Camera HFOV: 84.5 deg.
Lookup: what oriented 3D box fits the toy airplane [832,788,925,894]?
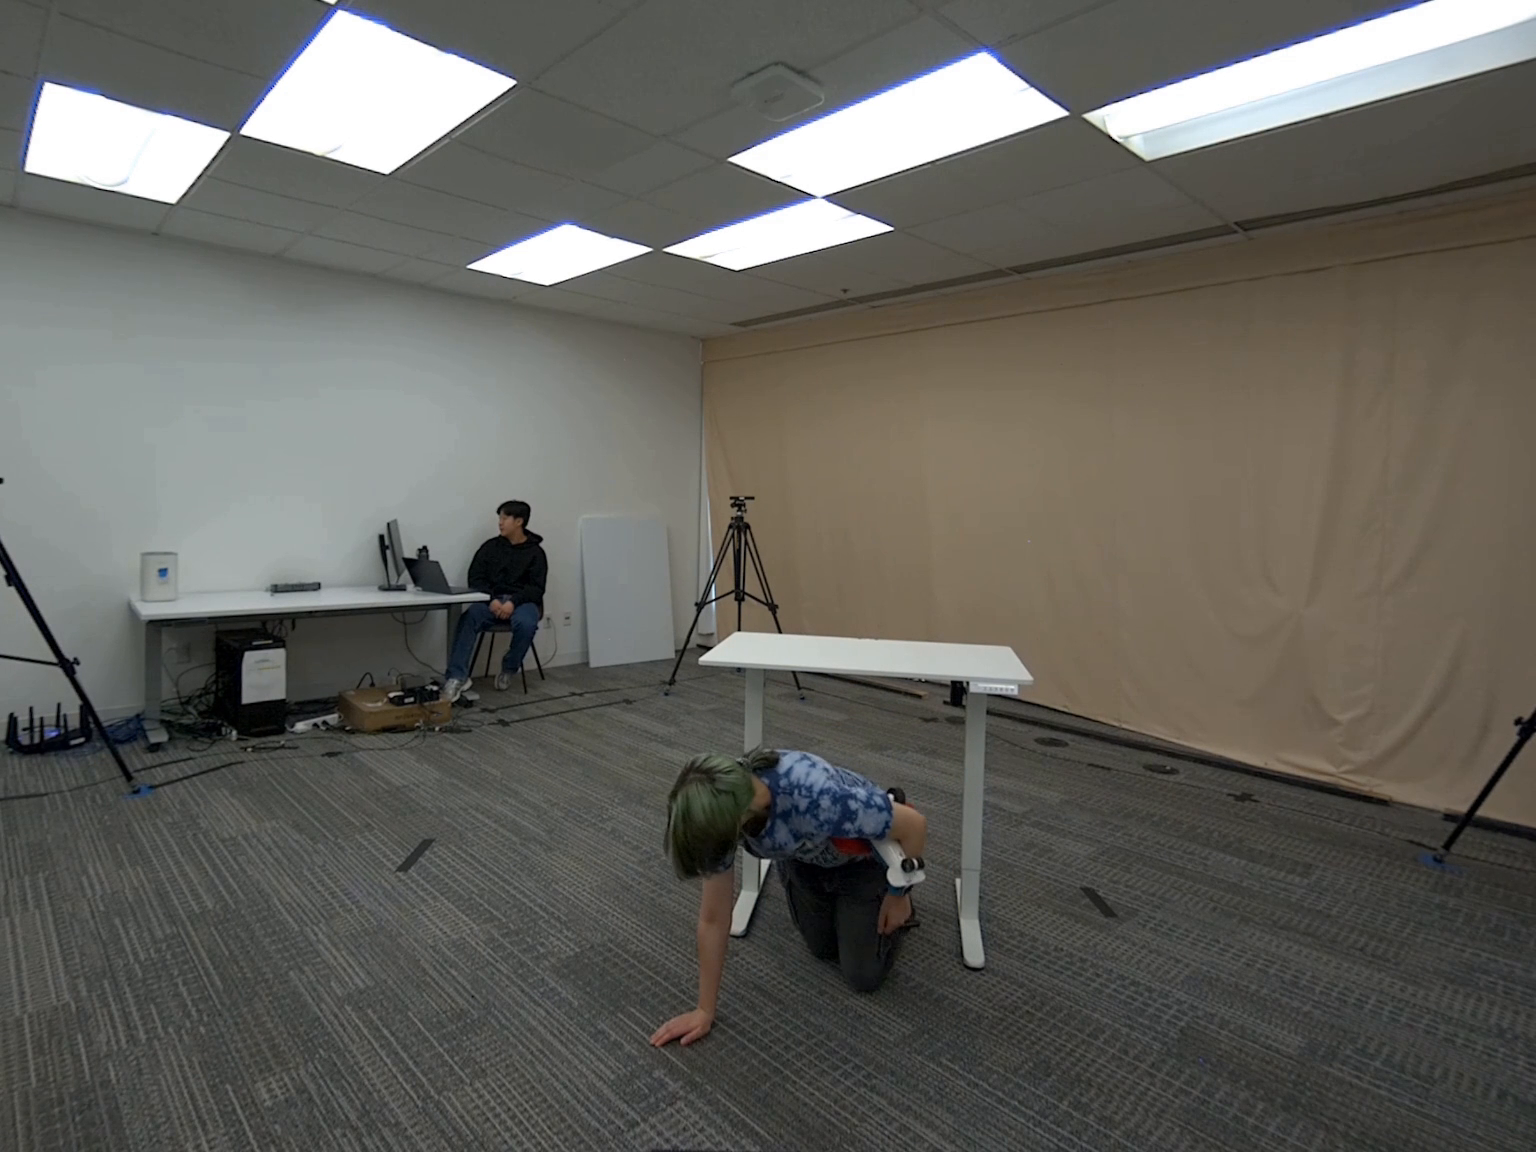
[{"bbox_3d":[0.283,0.688,2.201,0.248,0.263,0.156,25,-46,-12],"label":"toy airplane"}]
